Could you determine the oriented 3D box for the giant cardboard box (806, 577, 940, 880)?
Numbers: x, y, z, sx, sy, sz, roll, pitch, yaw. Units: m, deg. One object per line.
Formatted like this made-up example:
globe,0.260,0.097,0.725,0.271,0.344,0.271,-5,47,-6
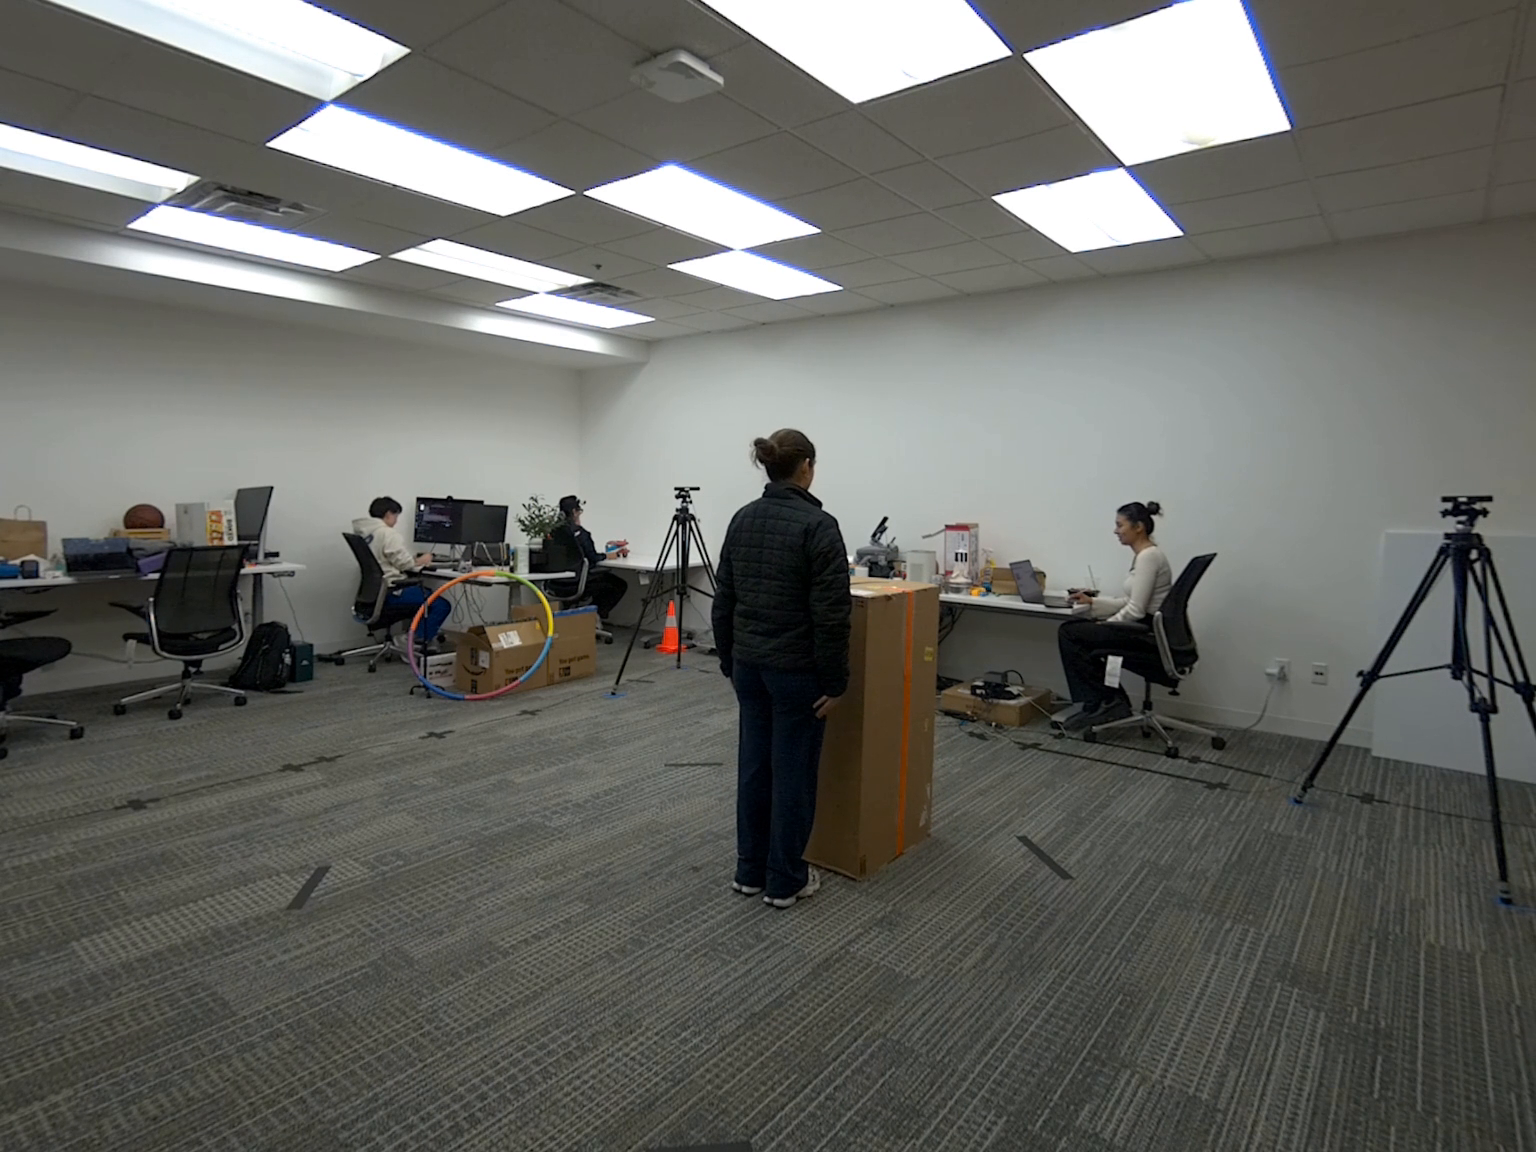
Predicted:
giant cardboard box,0.365,0.541,3.364,0.462,1.023,0.566,5,5,40
